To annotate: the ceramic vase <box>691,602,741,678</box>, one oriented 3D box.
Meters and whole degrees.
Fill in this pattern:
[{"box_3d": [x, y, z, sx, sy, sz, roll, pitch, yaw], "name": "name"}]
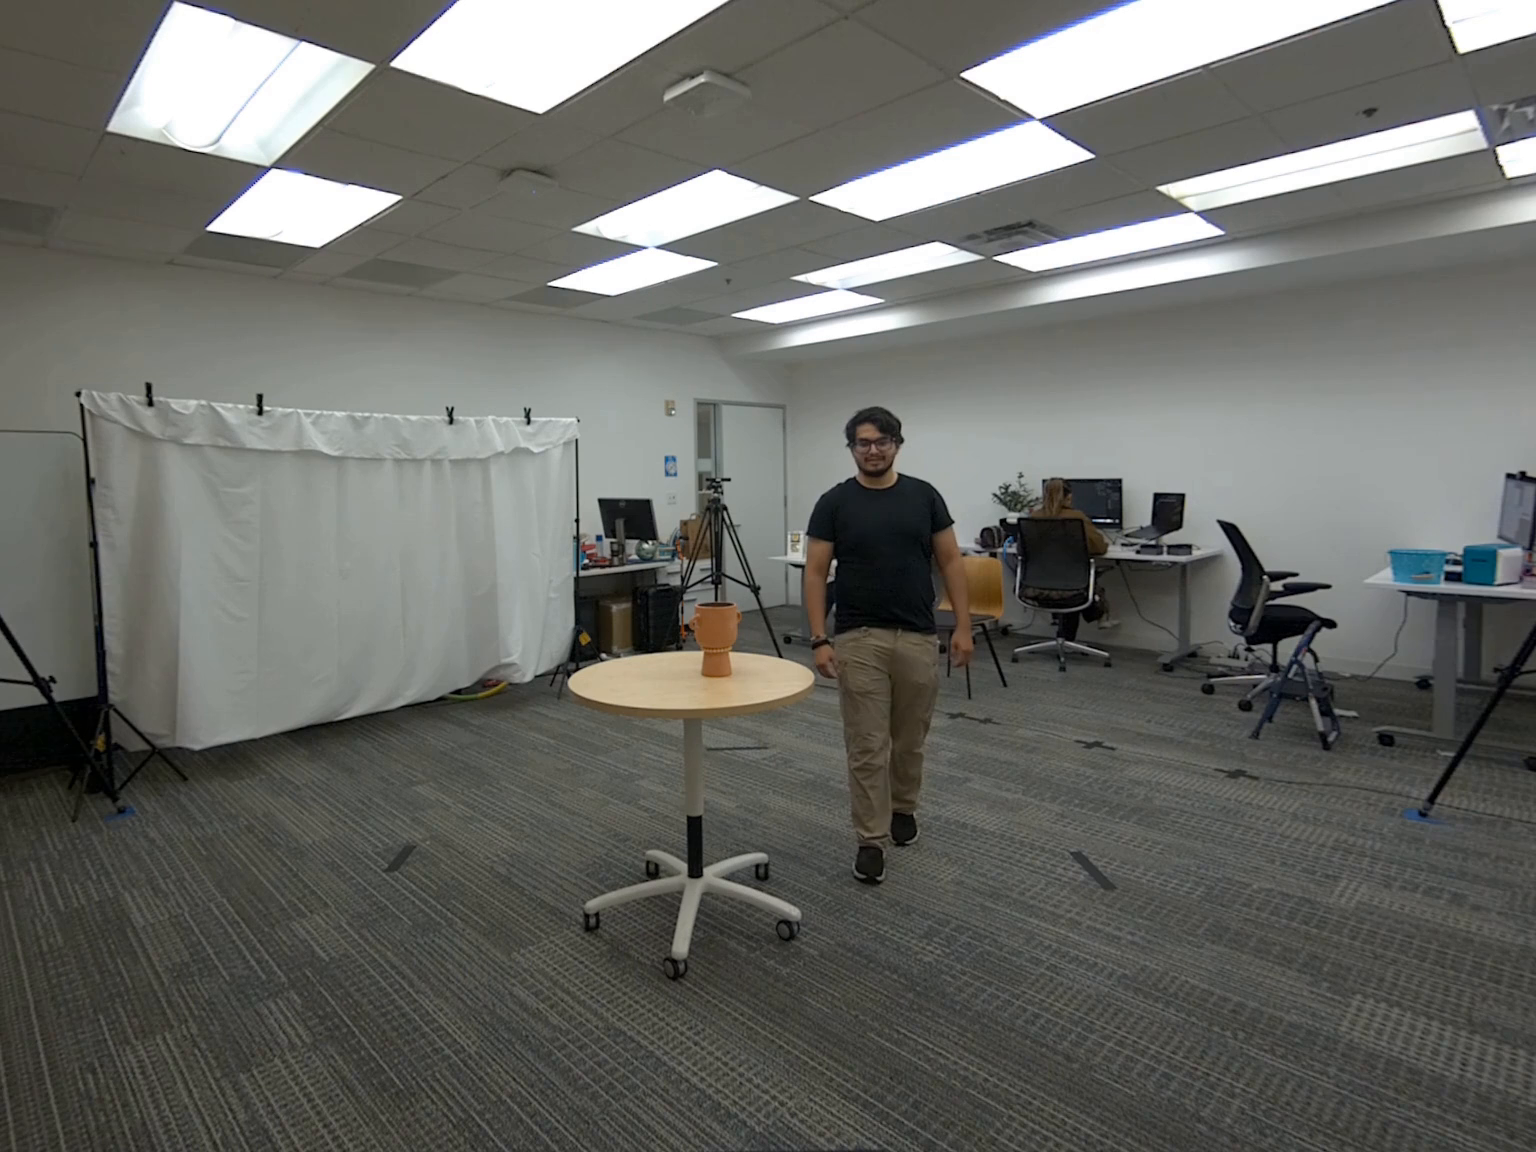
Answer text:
[{"box_3d": [-0.152, 0.202, 2.689, 0.159, 0.218, 0.135, -1, 7, 0], "name": "ceramic vase"}]
